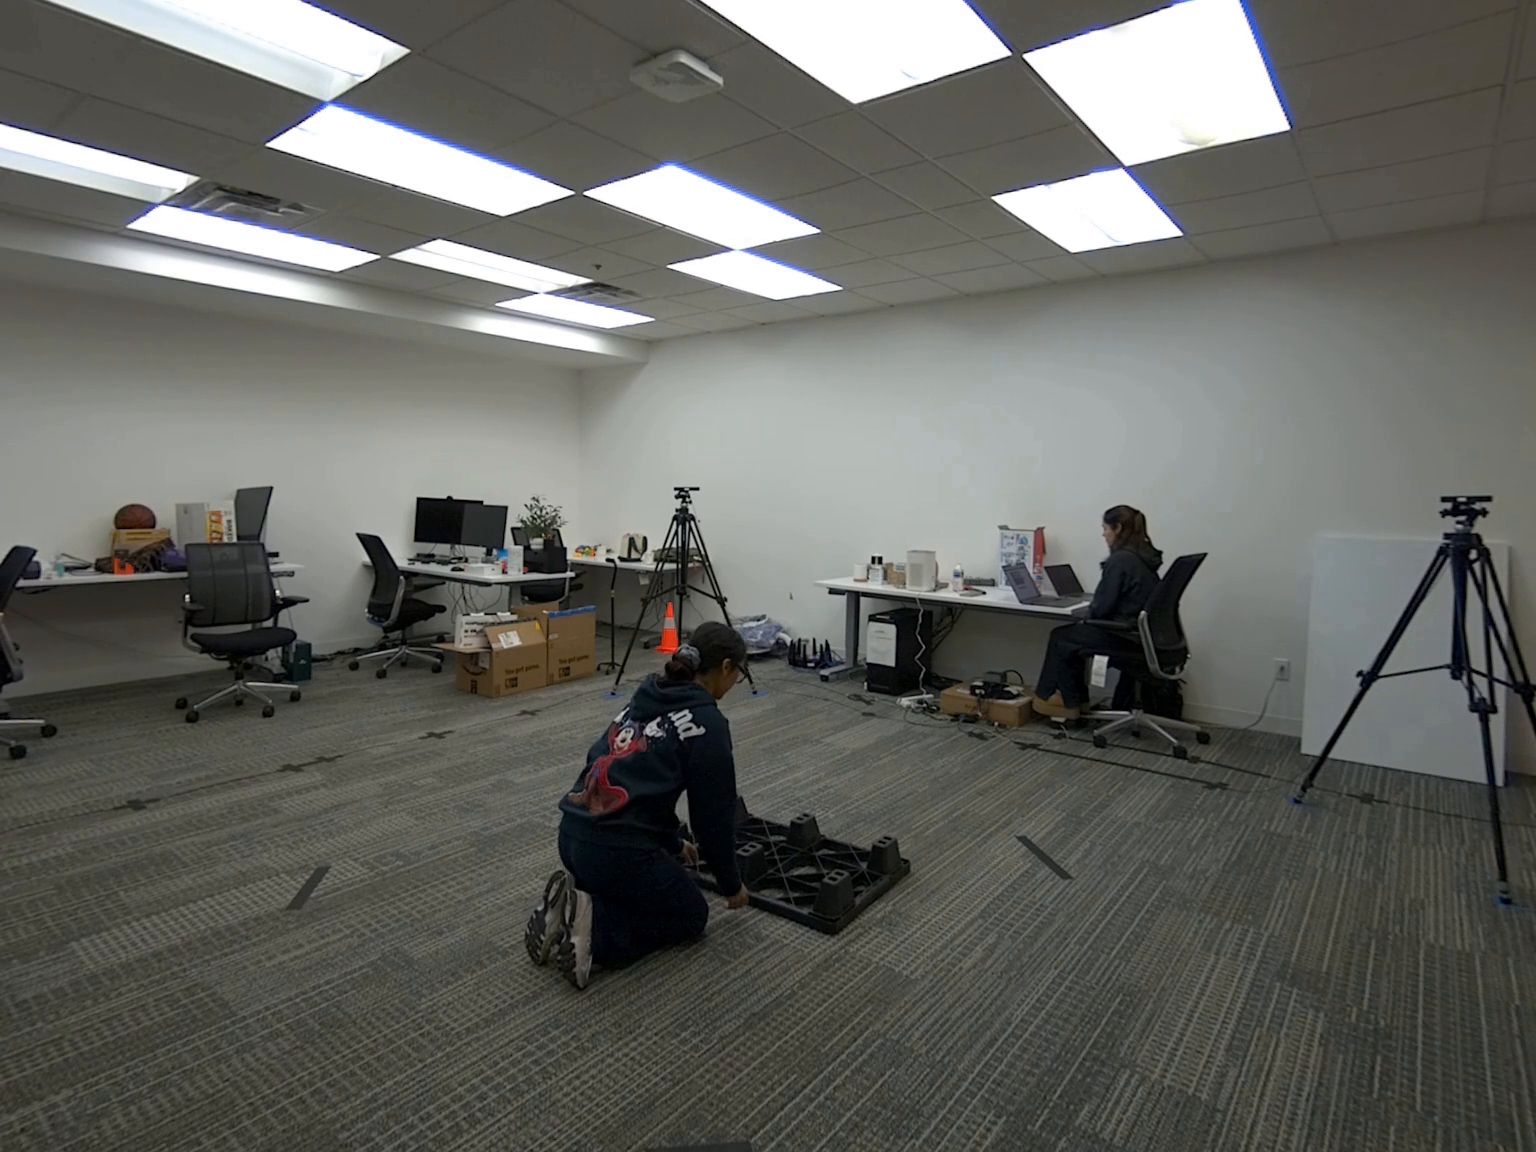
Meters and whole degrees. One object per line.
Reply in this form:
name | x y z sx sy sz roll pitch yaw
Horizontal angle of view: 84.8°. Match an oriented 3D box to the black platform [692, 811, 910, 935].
black platform | 0.022 1.005 3.119 0.831 0.143 0.588 5 6 34
